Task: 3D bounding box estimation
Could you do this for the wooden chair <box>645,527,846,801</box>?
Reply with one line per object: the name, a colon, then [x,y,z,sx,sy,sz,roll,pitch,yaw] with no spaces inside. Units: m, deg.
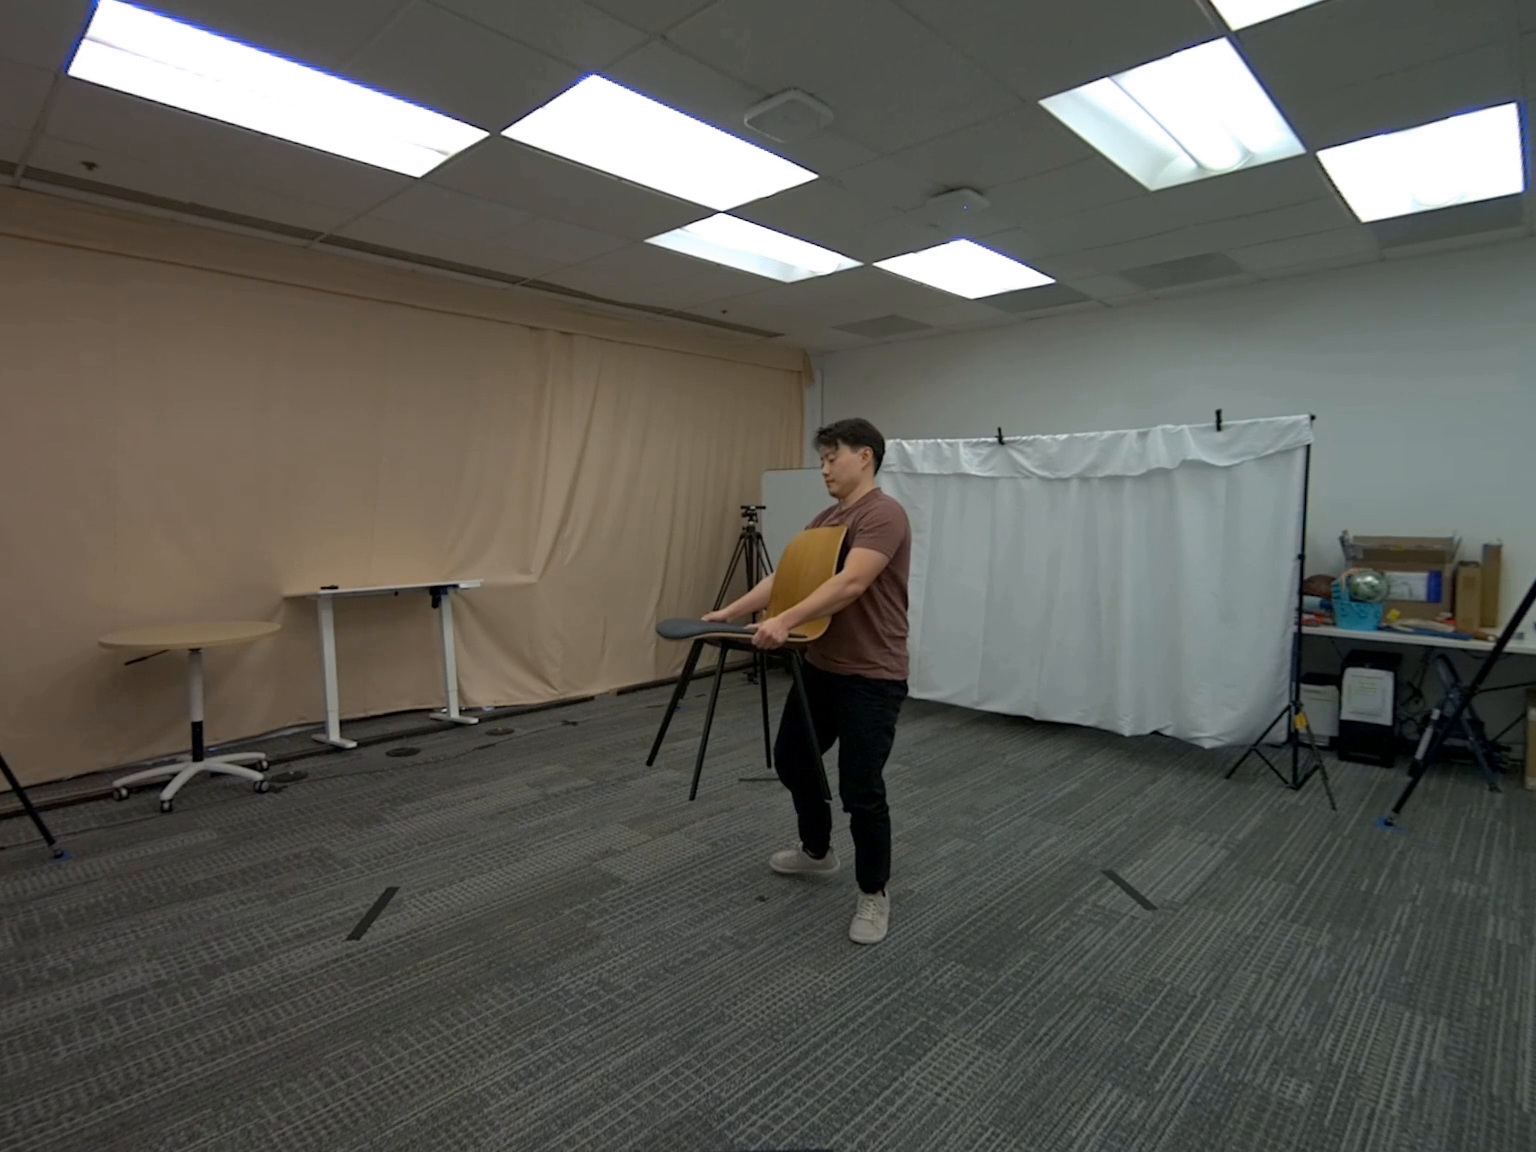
wooden chair: [-0.080,0.237,2.664,0.511,0.879,0.489,10,-4,-23]
